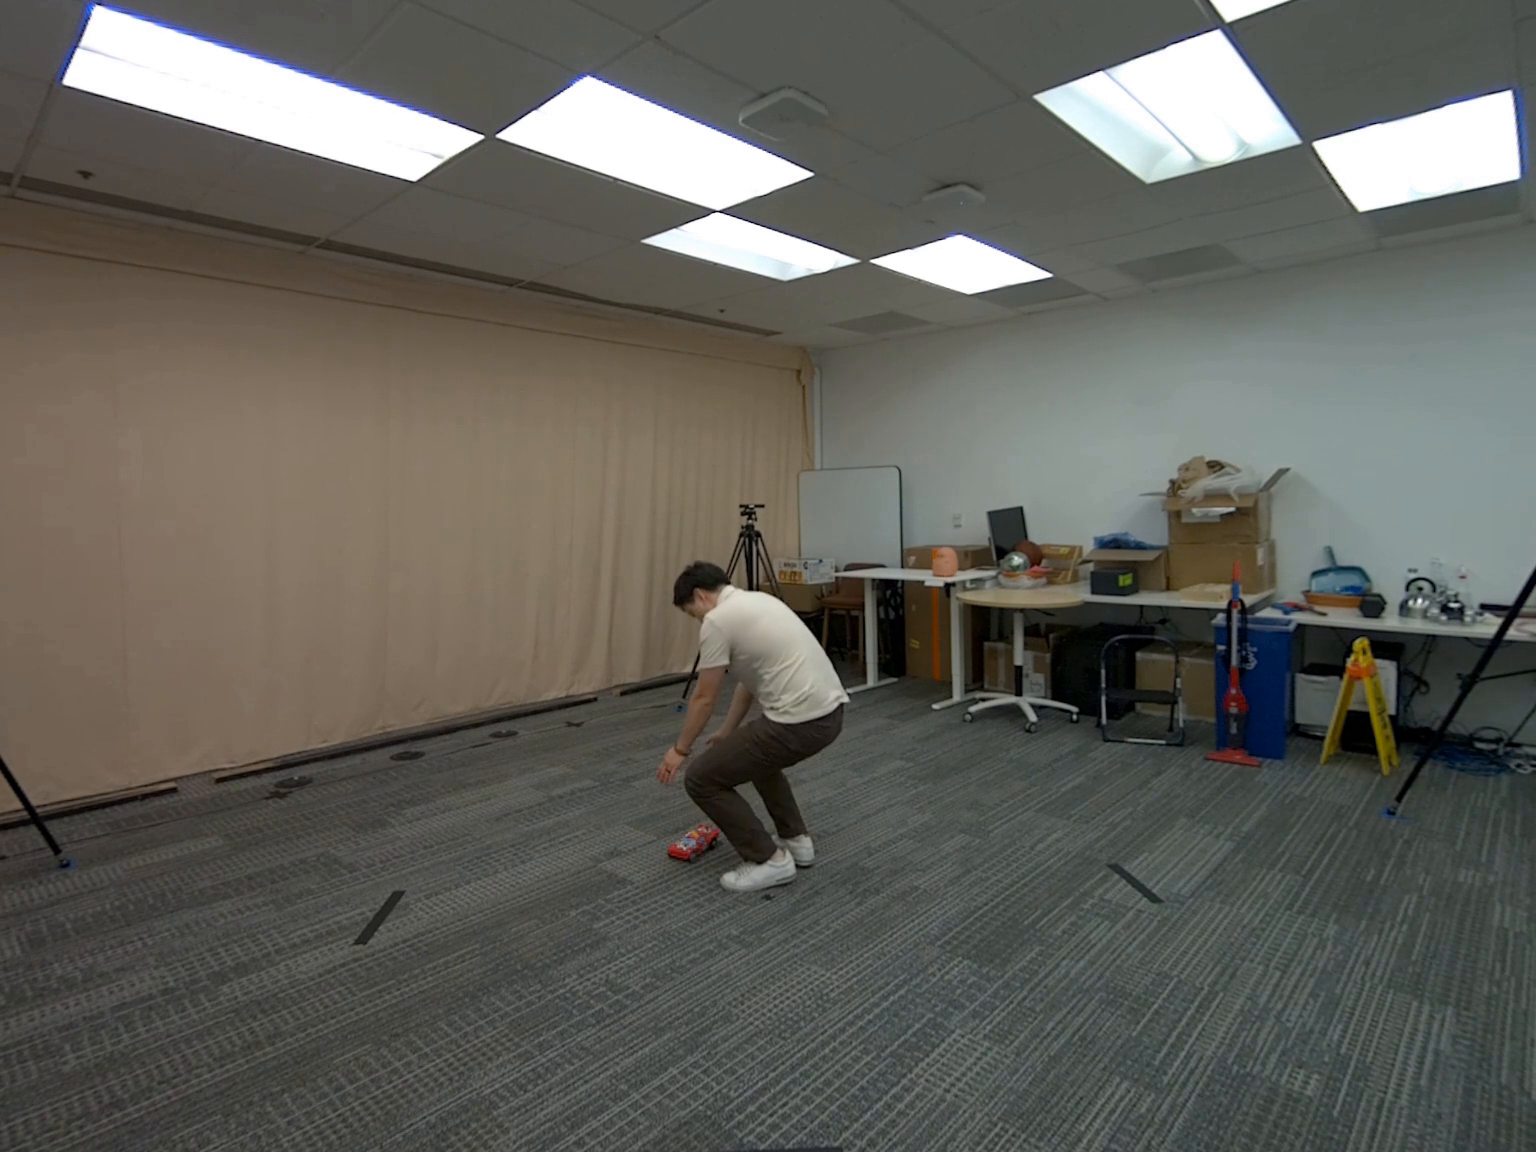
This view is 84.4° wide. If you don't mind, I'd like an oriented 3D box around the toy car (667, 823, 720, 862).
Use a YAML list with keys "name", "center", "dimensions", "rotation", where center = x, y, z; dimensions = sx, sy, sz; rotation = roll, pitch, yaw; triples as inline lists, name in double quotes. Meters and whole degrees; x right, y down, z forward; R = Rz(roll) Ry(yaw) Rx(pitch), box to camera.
- name: "toy car"
  center: [-0.295, 1.078, 3.400]
  dimensions: [0.134, 0.082, 0.249]
  rotation: [0, 15, 32]
